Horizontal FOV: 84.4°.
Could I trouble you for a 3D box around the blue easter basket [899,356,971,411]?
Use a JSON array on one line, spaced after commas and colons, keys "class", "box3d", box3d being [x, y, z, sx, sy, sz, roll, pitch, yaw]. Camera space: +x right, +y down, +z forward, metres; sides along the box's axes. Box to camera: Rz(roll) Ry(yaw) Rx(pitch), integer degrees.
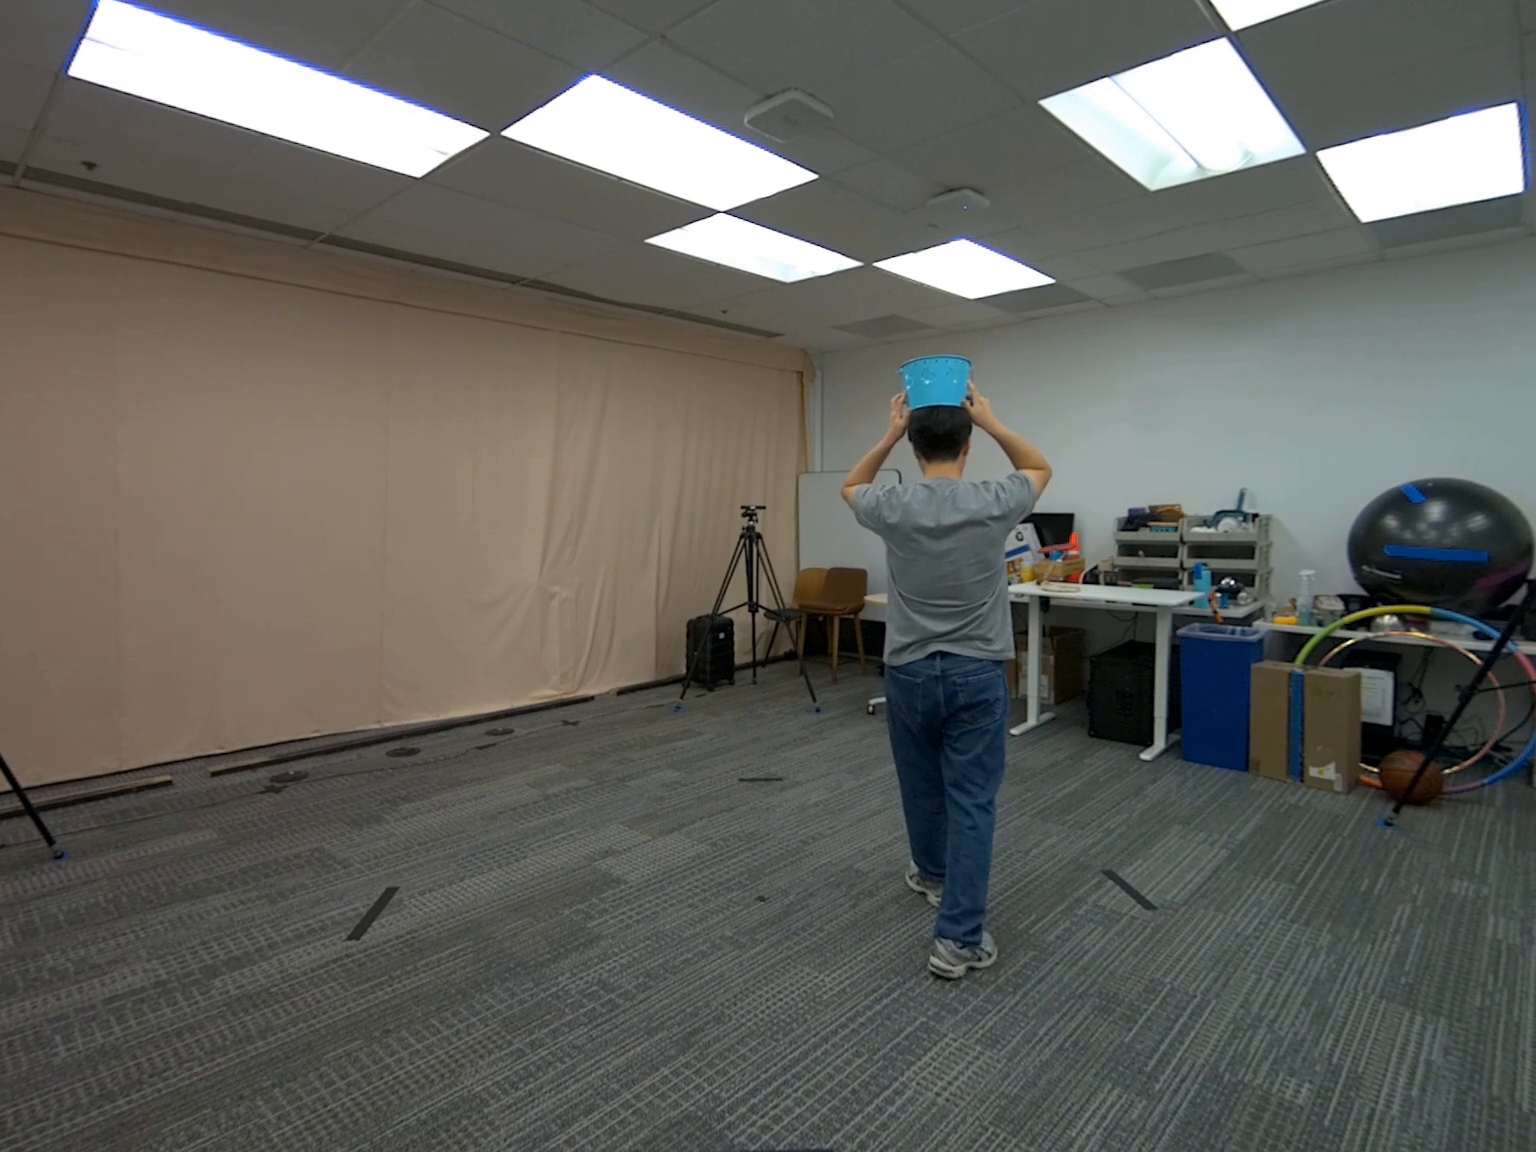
[{"class": "blue easter basket", "box3d": [0.565, -0.616, 2.753, 0.243, 0.156, 0.243, 0, -5, -2]}]
